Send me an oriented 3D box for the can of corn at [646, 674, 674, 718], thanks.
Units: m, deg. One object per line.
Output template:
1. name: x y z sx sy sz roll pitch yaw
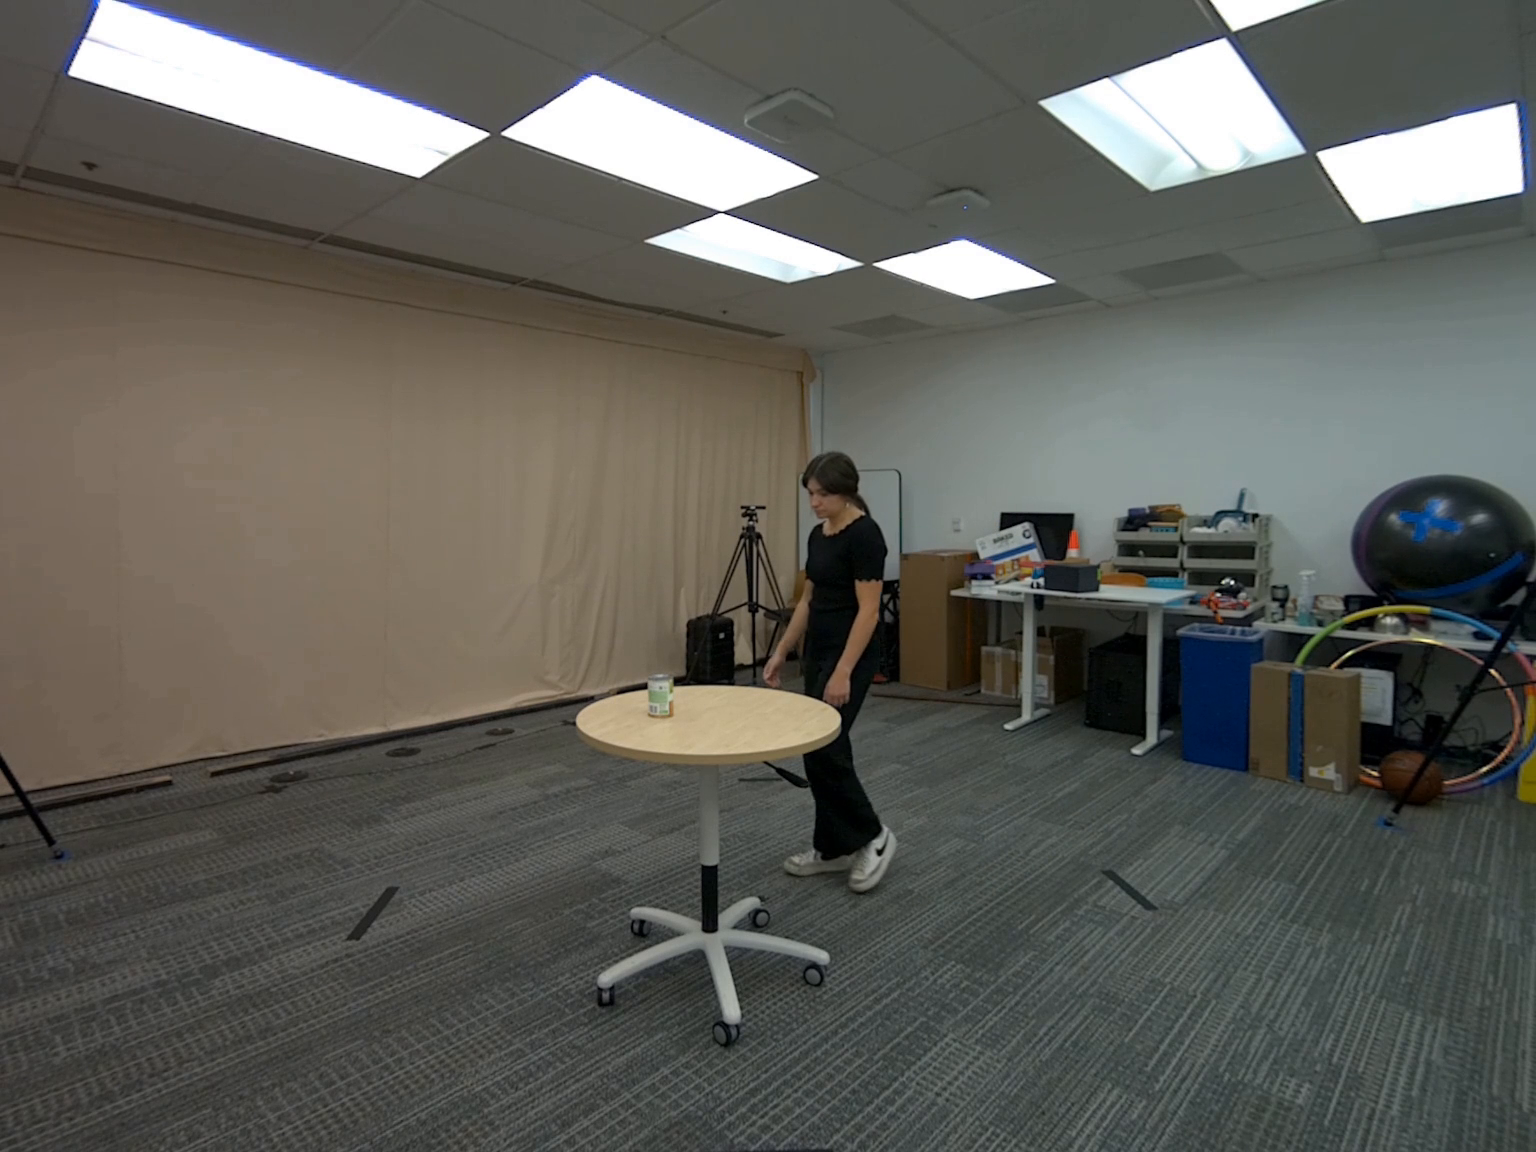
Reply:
1. can of corn: -0.314 0.353 2.442 0.074 0.111 0.074 -1 5 -2
